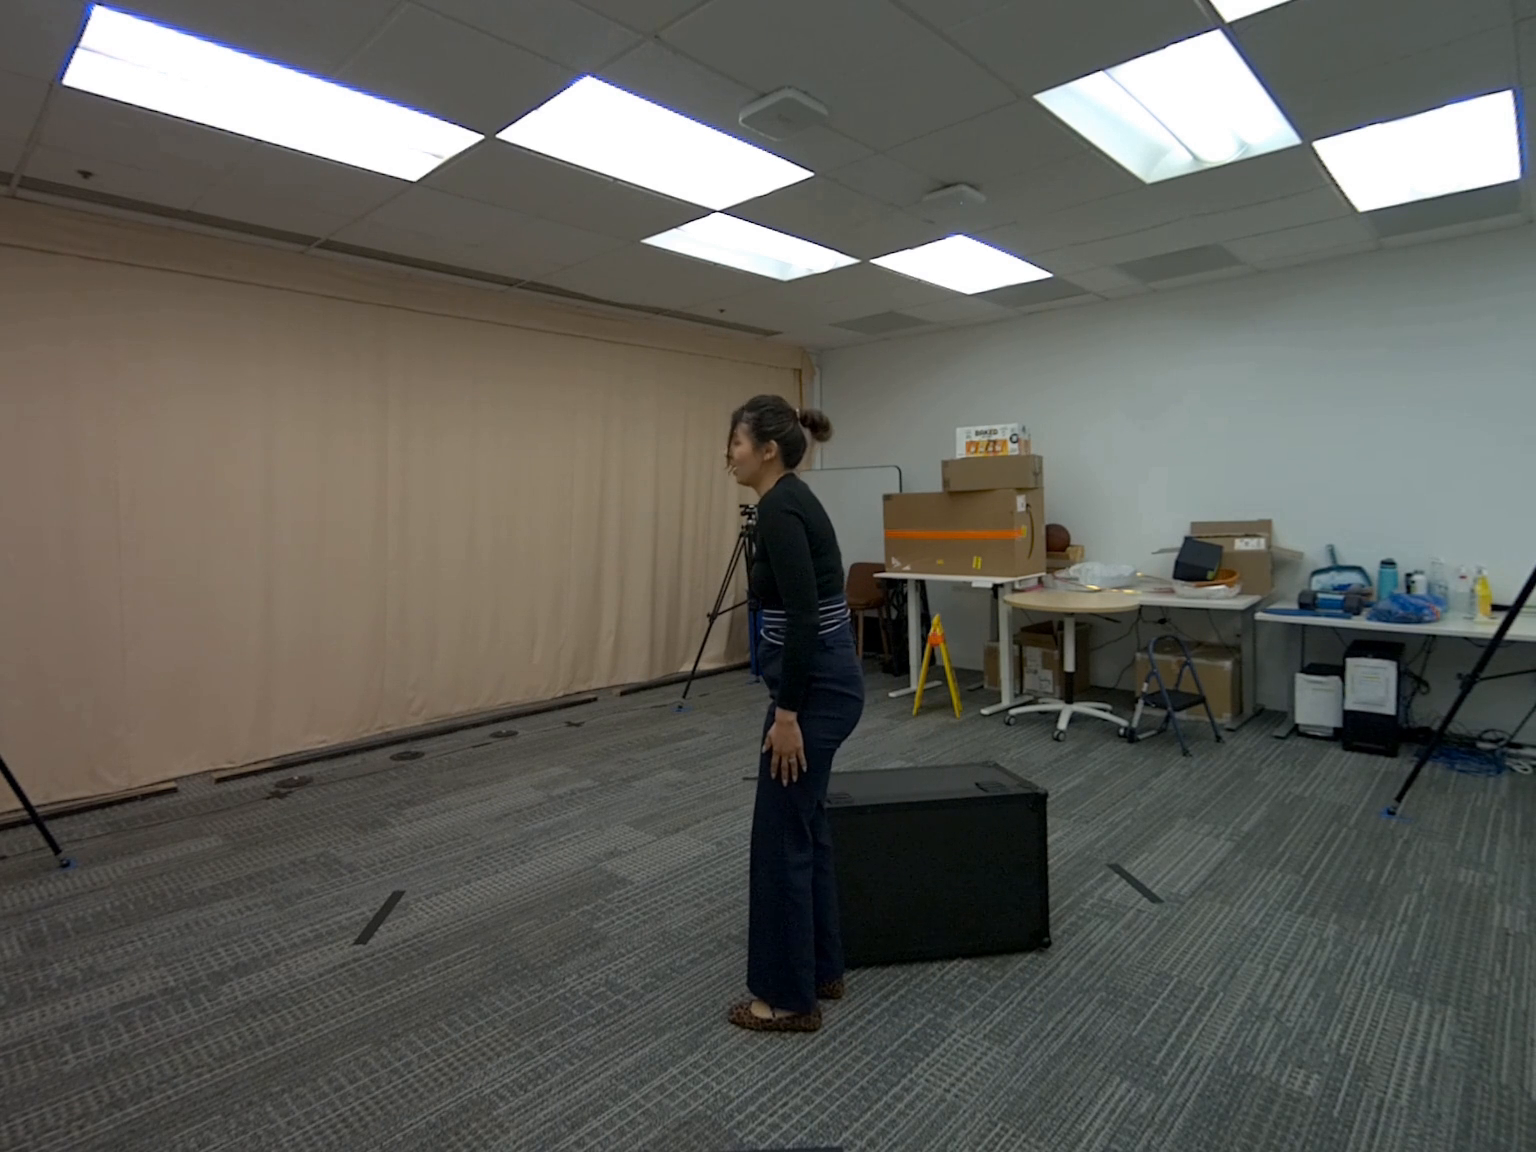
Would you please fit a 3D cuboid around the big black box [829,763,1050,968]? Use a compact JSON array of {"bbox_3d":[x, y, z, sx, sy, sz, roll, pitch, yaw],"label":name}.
[{"bbox_3d":[0.421,0.899,2.712,0.853,0.521,0.400,-2,2,-9],"label":"big black box"}]
